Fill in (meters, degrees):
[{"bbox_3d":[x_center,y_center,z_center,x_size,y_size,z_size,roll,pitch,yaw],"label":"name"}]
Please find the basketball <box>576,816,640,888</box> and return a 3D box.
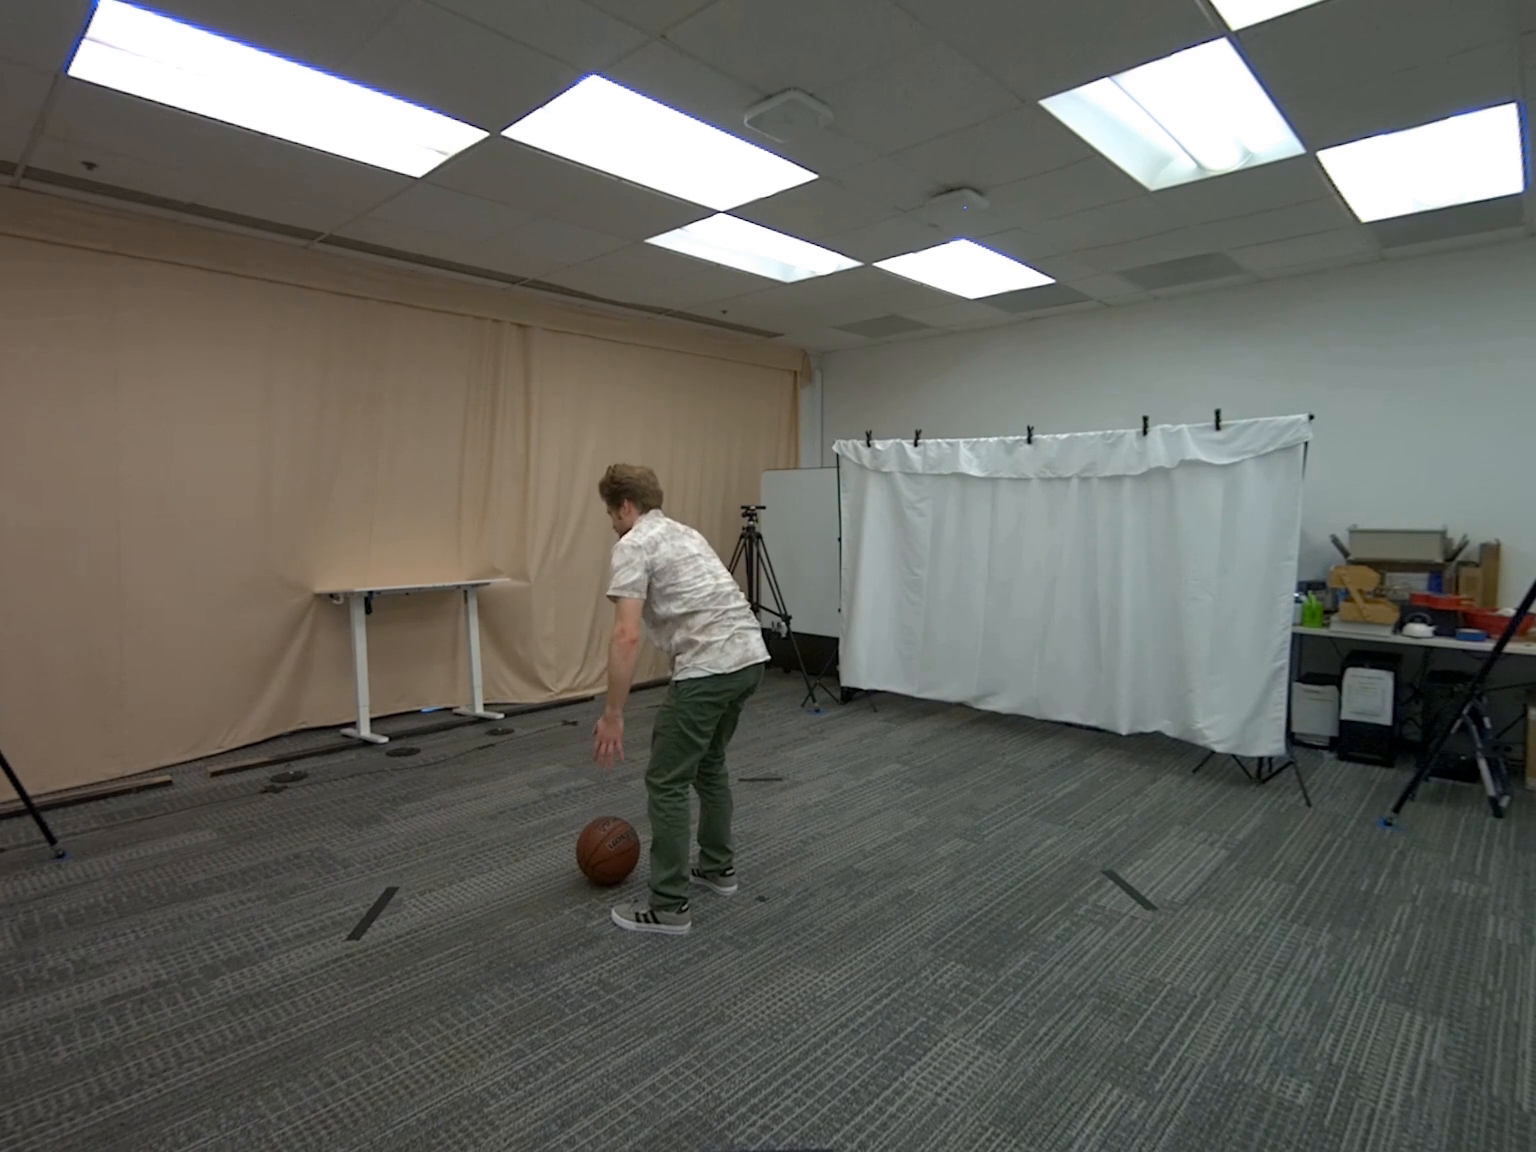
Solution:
[{"bbox_3d":[-0.587,1.019,3.124,0.236,0.235,0.237,0,4,-2],"label":"basketball"}]
